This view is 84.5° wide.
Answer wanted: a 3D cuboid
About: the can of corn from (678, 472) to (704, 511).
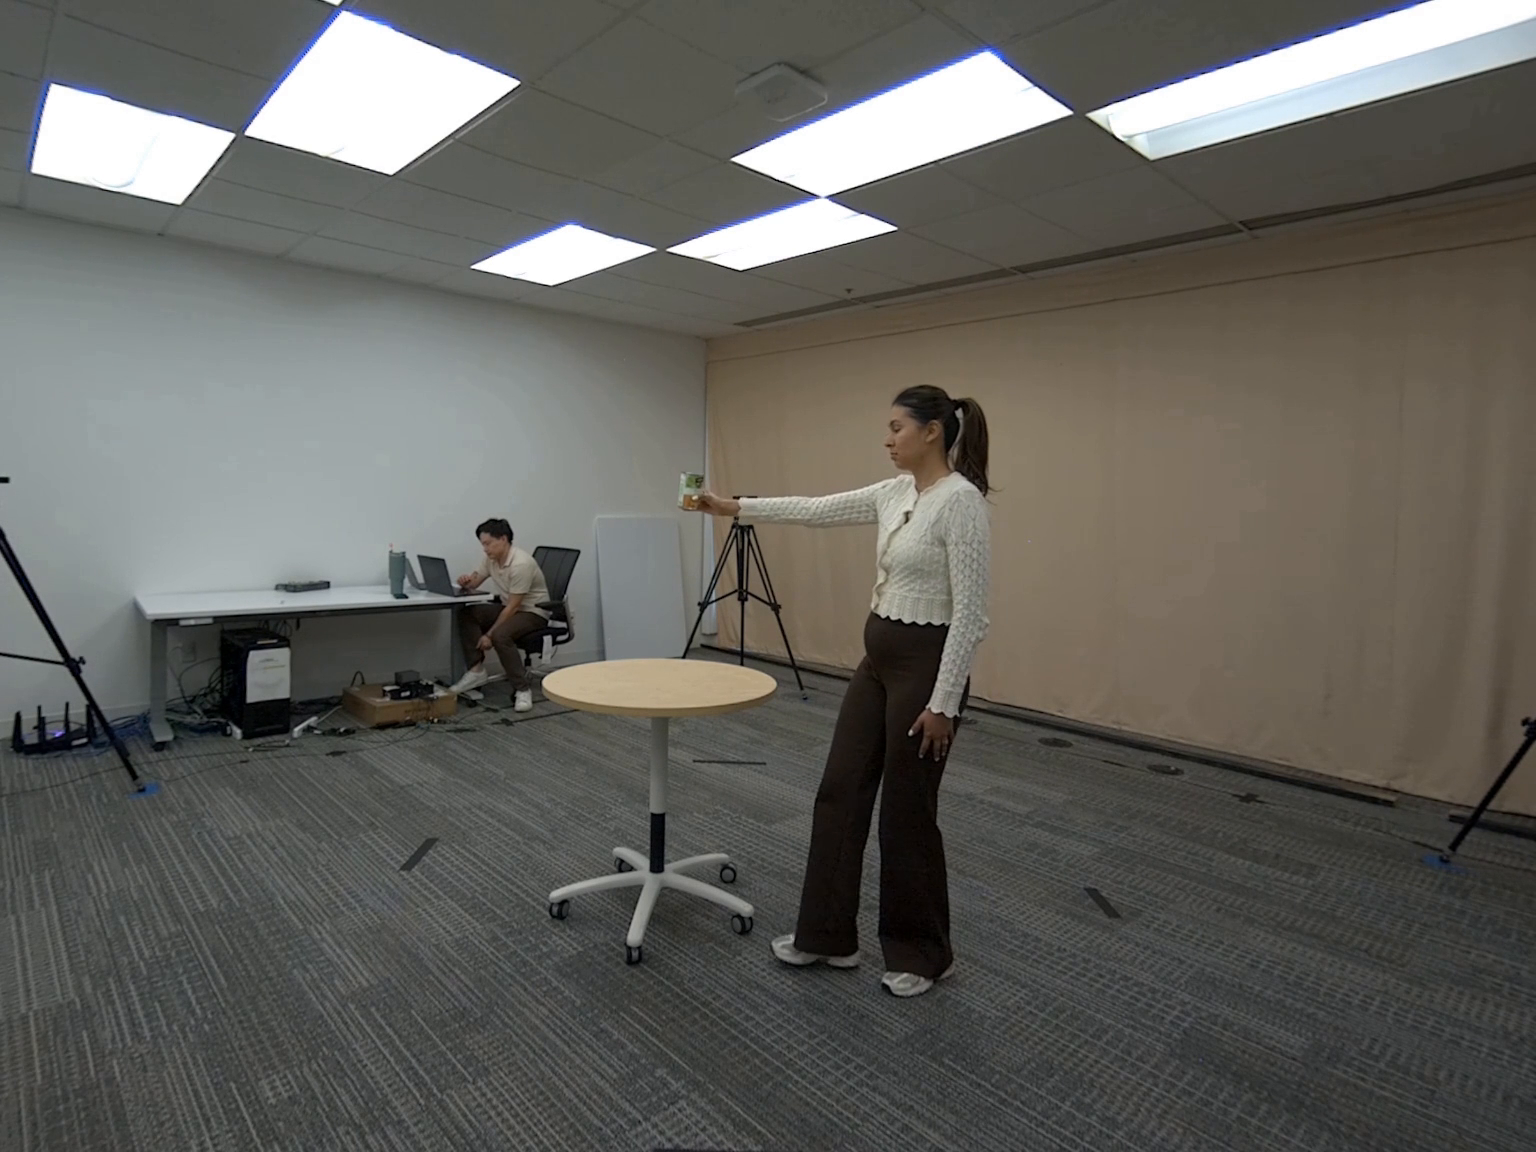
[{"bbox_3d":[-0.249,-0.266,2.641,0.074,0.111,0.074,5,5,-2],"label":"can of corn"}]
